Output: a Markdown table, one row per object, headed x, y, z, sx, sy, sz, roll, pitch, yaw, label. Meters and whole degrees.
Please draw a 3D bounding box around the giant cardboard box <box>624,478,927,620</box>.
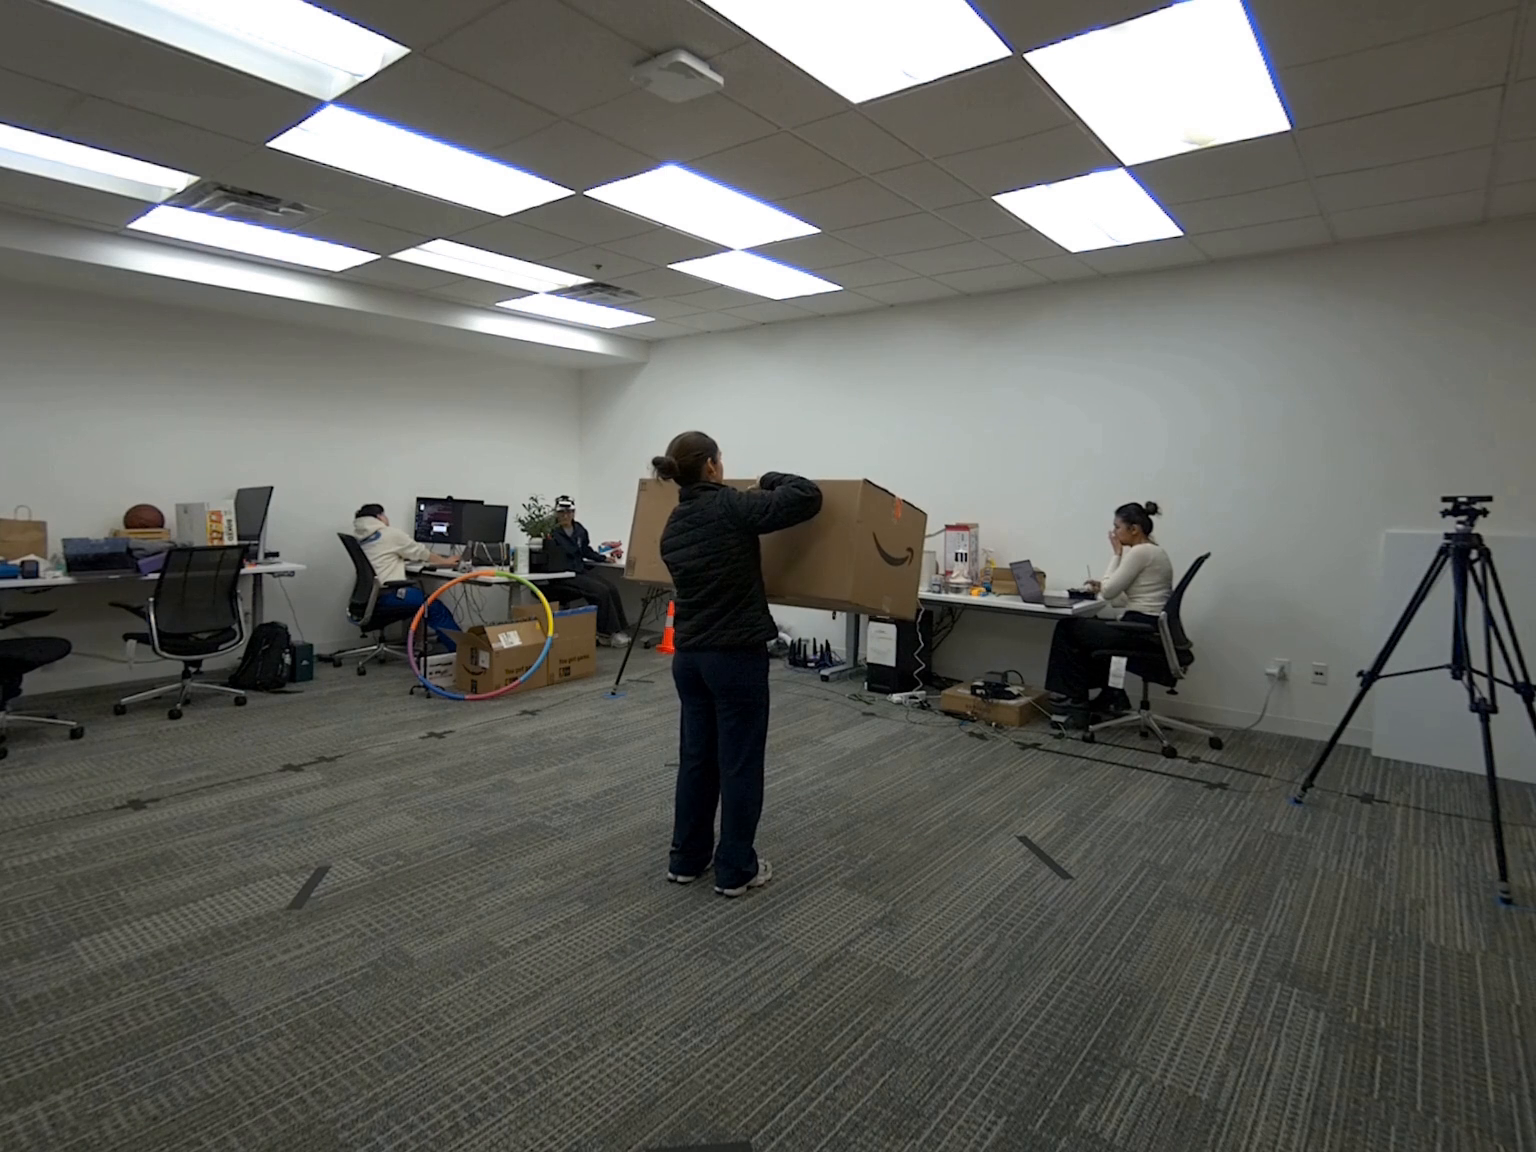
| x | y | z | sx | sy | sz | roll | pitch | yaw | label |
| --- | --- | --- | --- | --- | --- | --- | --- | --- | --- |
| 0.042 | -0.121 | 3.384 | 1.059 | 0.428 | 0.556 | 5 | -7 | 35 | giant cardboard box |
